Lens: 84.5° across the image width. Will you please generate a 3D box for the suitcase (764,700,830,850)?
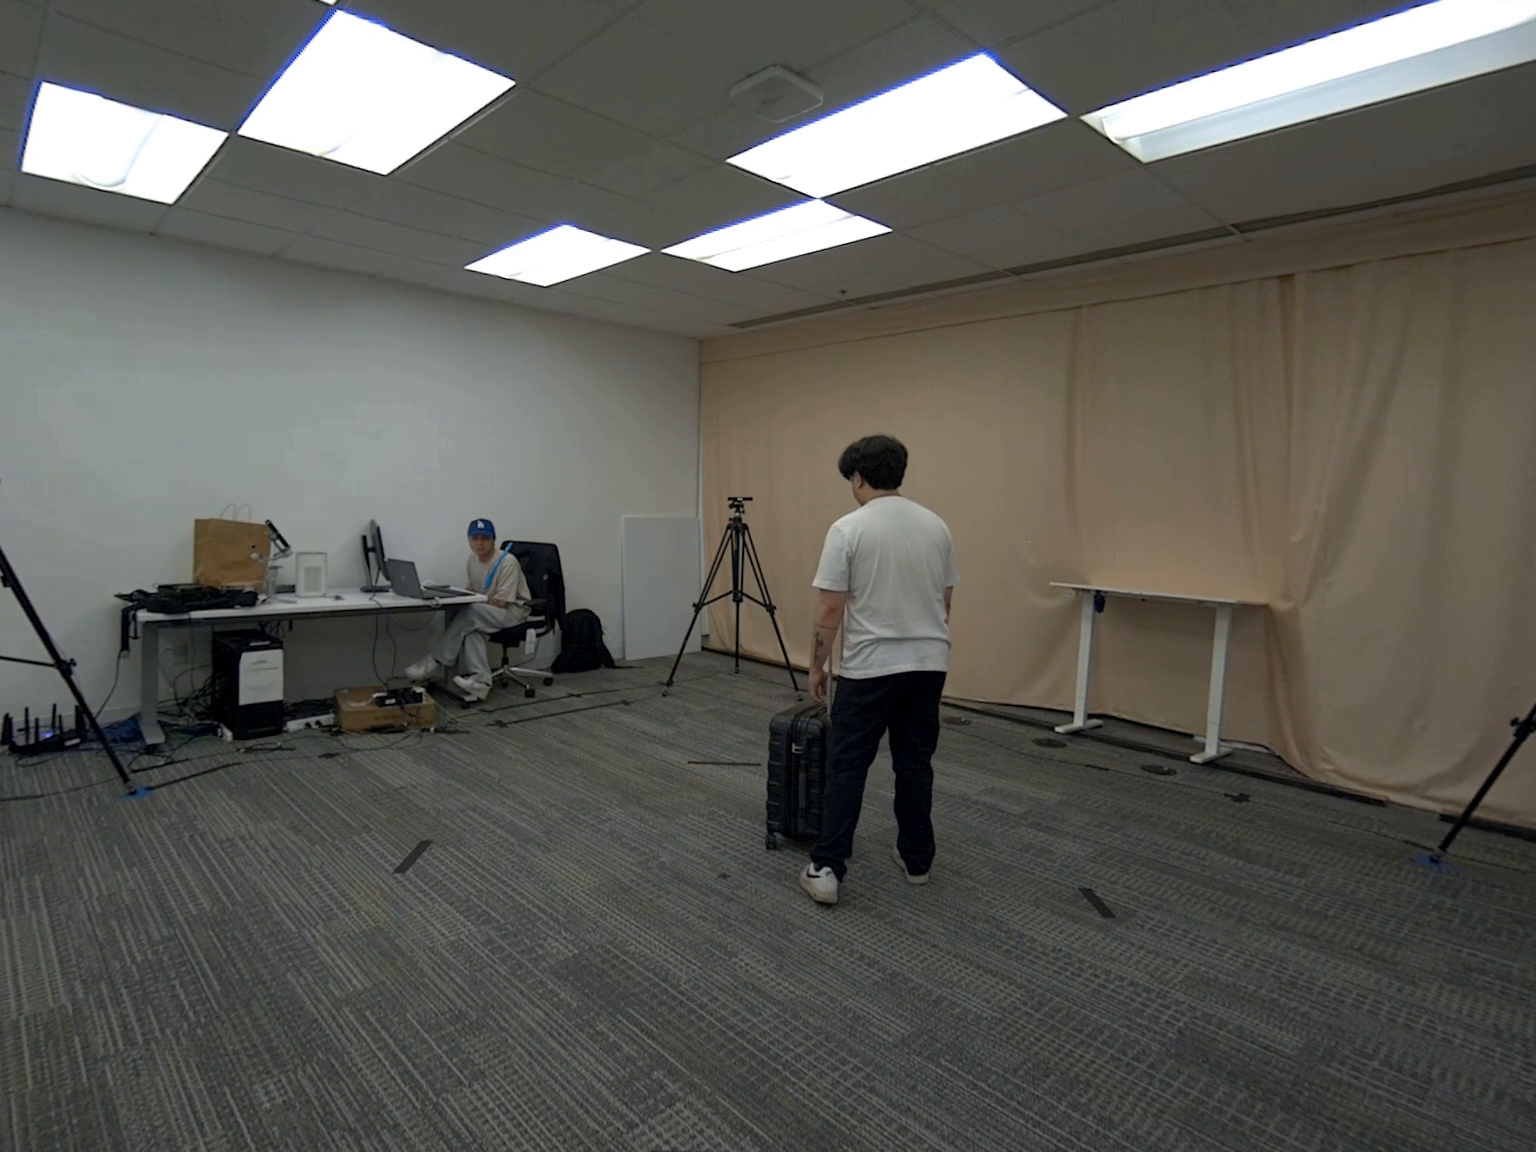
[{"bbox_3d":[0.155,0.607,3.454,0.262,0.978,0.376,-1,0,27],"label":"suitcase"}]
